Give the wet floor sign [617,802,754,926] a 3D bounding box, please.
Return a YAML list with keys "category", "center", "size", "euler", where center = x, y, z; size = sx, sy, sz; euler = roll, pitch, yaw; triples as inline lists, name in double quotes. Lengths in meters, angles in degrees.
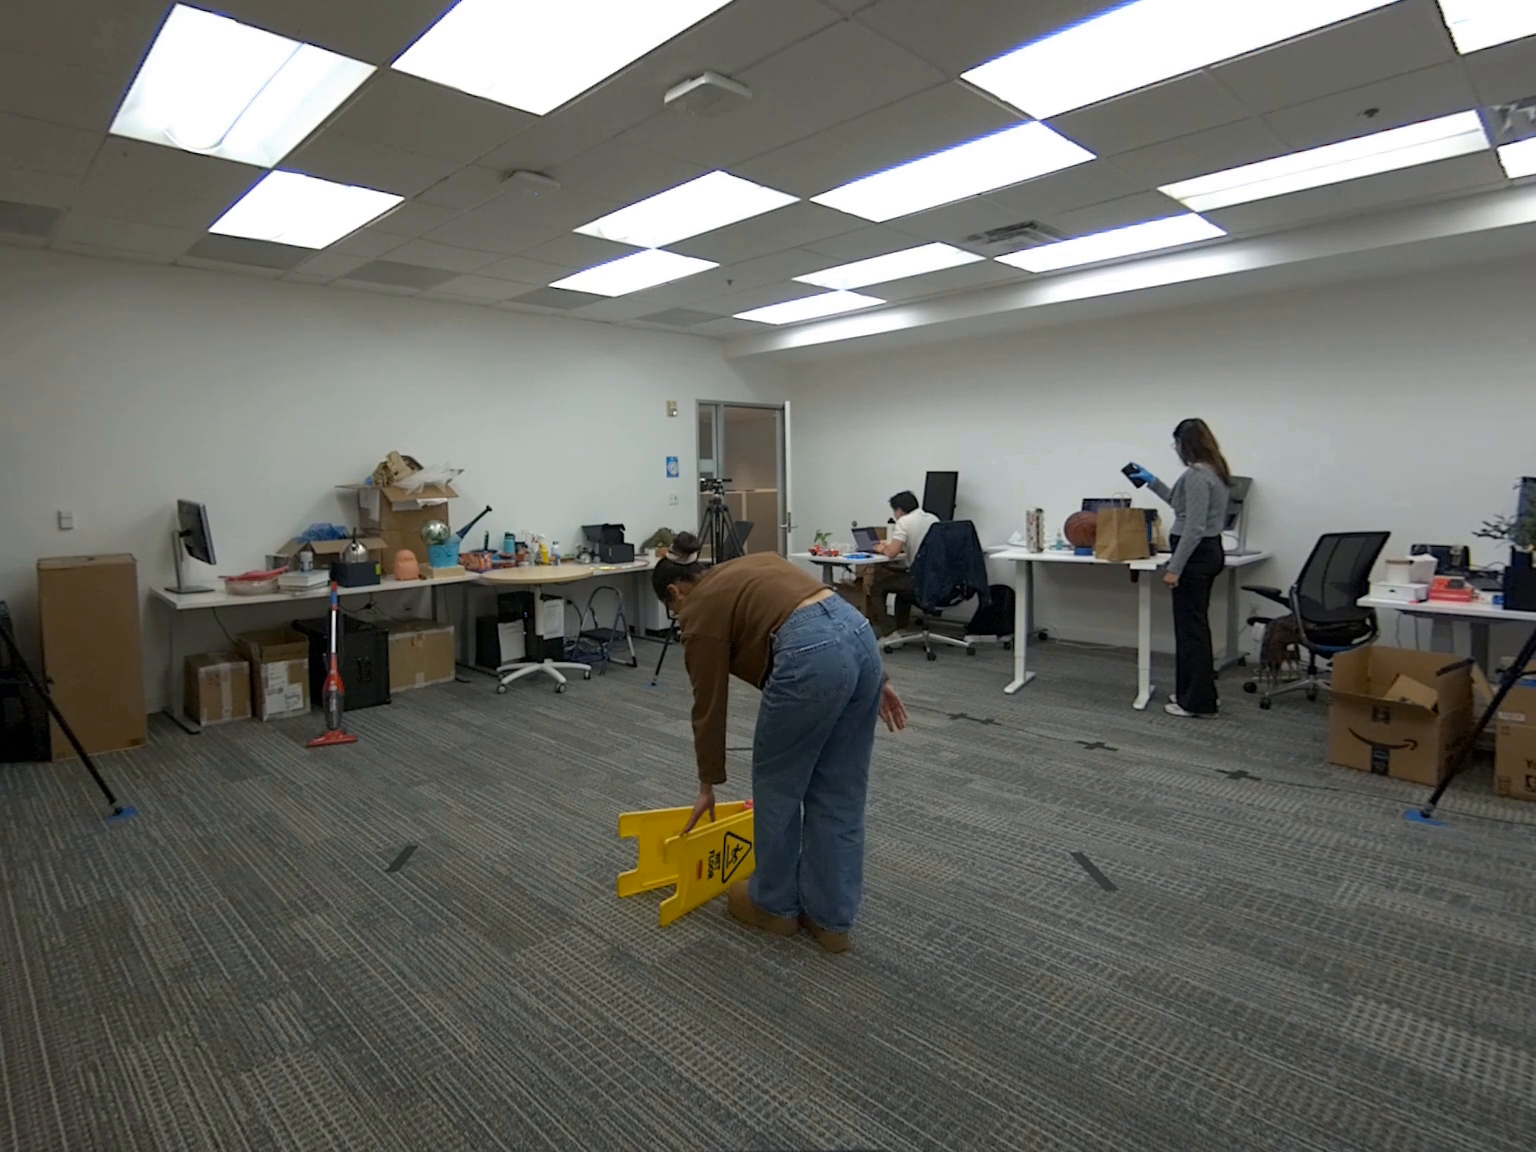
- category: "wet floor sign"
  center: [-0.176, 0.937, 2.967]
  size: [0.628, 0.281, 0.299]
  euler: [-3, 6, -40]
